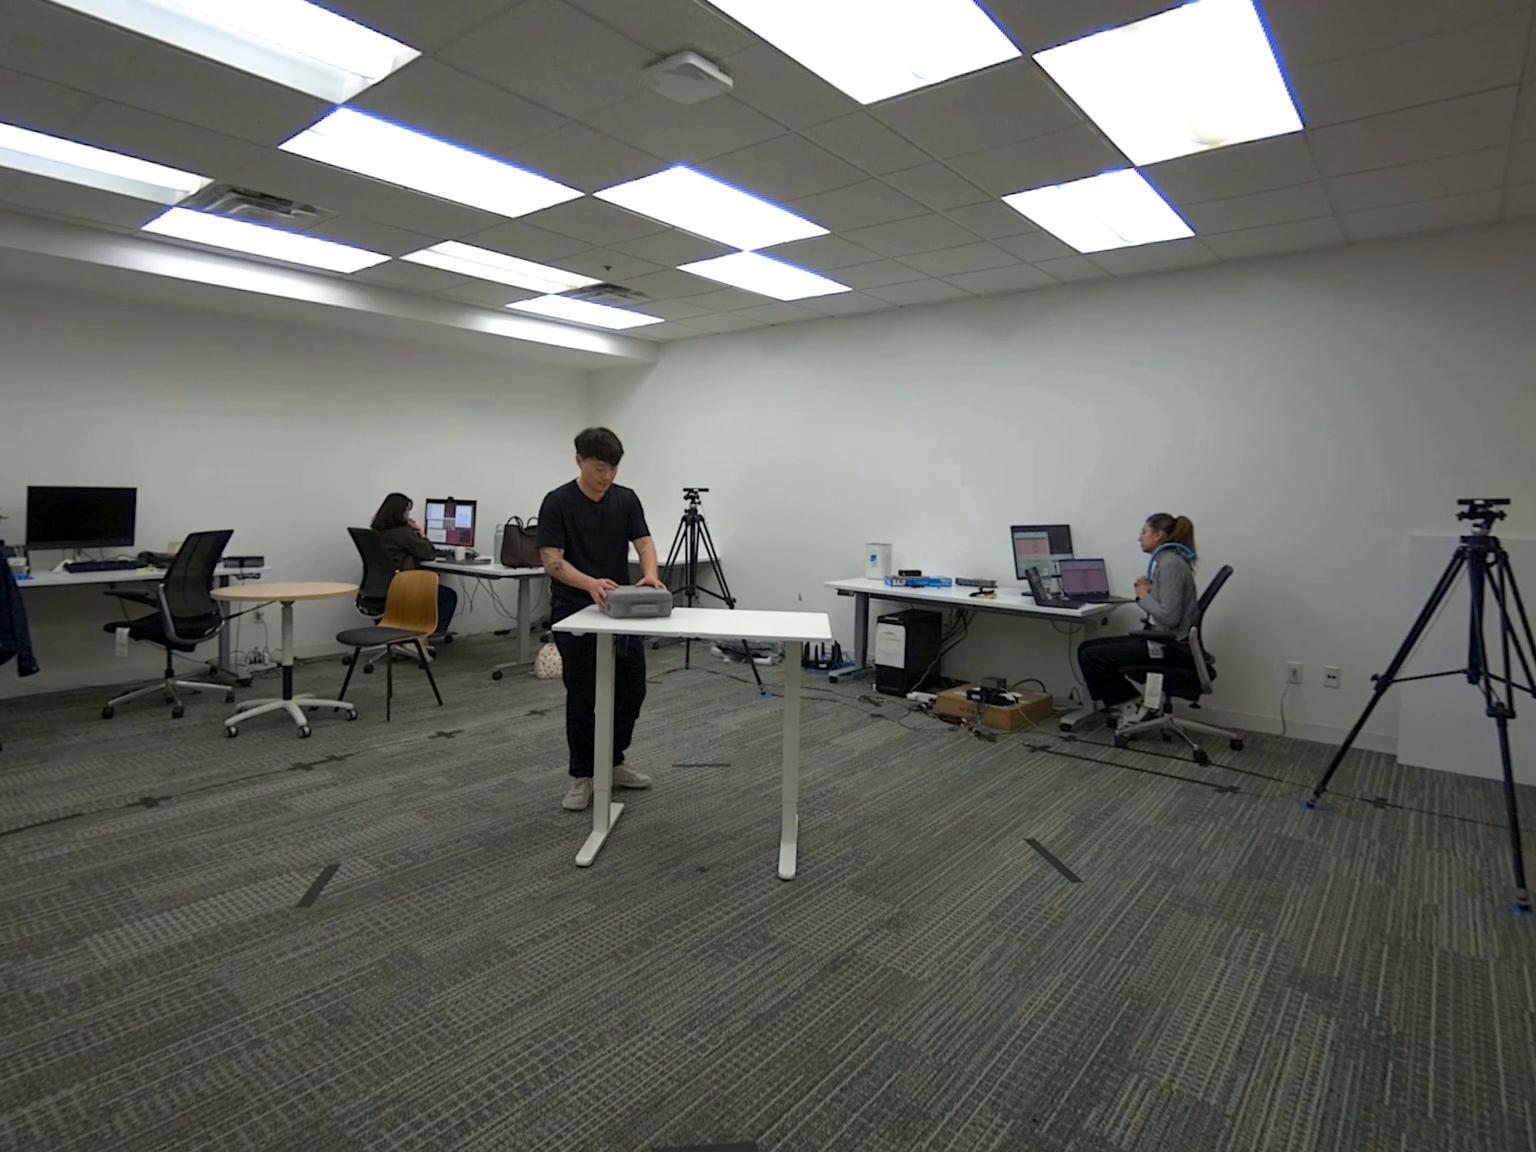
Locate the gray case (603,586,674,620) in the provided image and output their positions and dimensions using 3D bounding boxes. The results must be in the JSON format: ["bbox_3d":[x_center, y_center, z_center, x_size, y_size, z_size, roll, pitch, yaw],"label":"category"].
[{"bbox_3d":[-0.530,0.102,3.403,0.252,0.104,0.266,1,4,-18],"label":"gray case"}]
